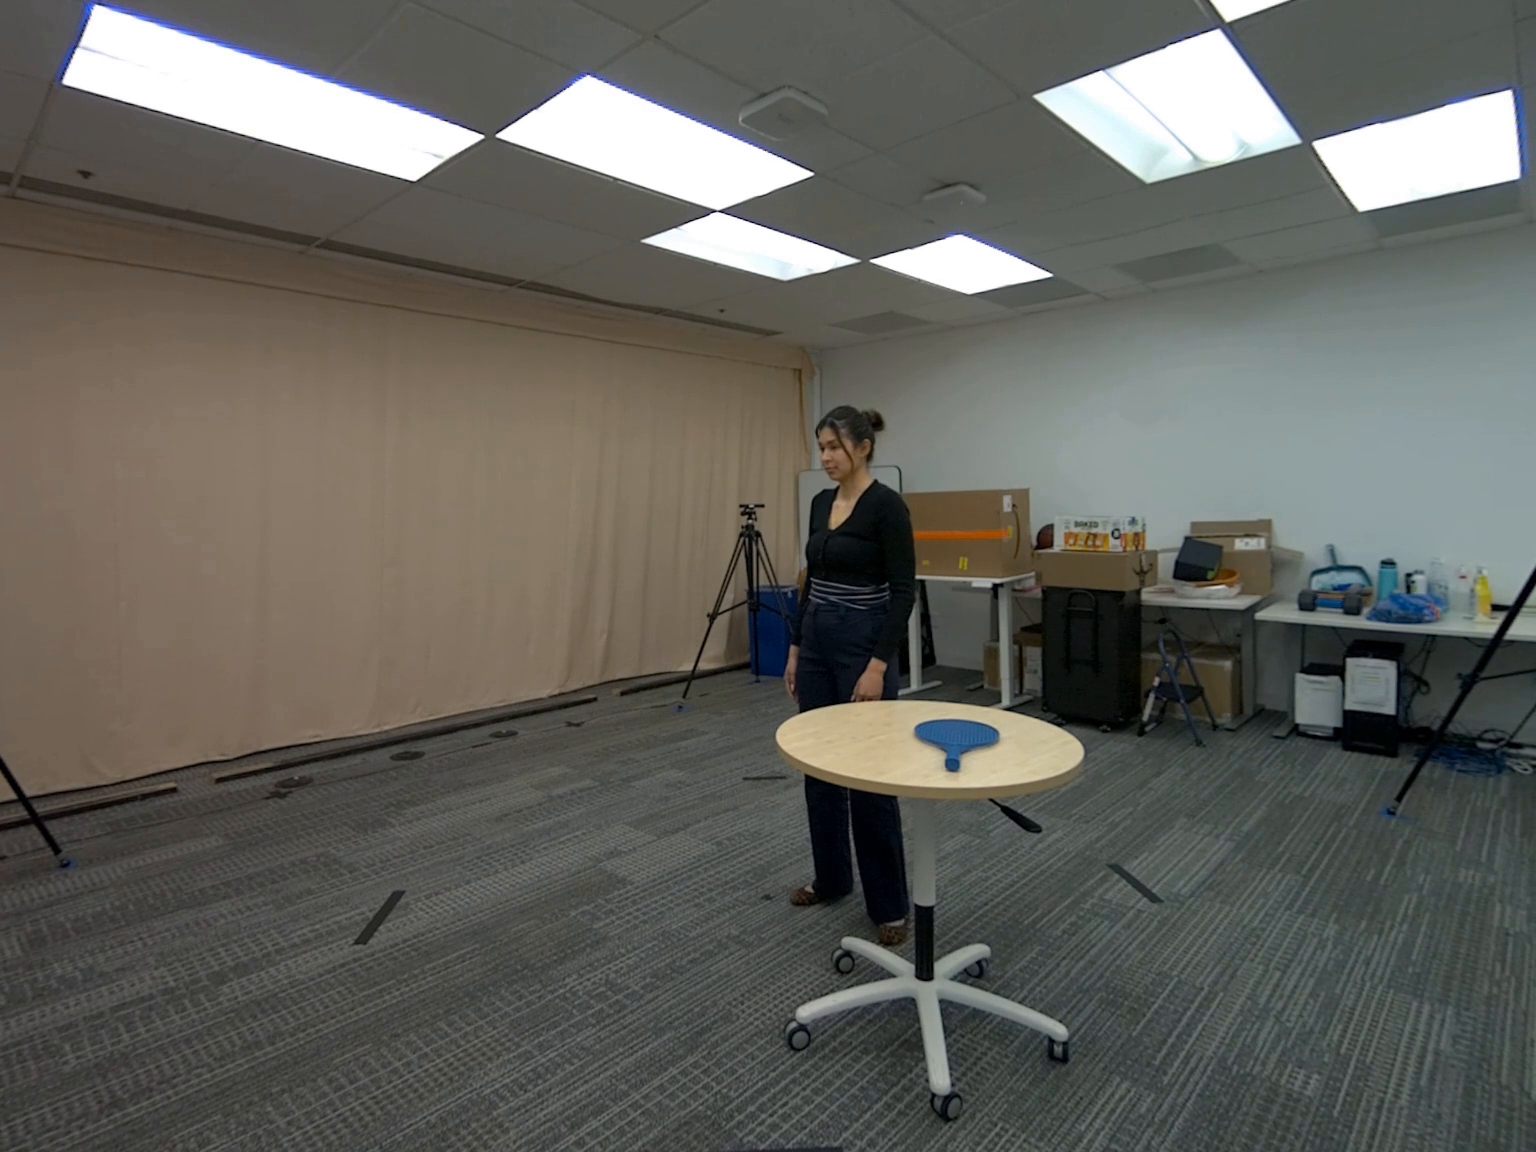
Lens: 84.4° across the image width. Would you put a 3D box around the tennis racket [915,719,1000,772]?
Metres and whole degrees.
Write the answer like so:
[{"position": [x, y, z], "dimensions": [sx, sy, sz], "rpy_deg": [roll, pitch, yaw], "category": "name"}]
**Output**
[{"position": [0.479, 0.416, 2.099], "dimensions": [0.217, 0.032, 0.427], "rpy_deg": [-1, 4, 13], "category": "tennis racket"}]
